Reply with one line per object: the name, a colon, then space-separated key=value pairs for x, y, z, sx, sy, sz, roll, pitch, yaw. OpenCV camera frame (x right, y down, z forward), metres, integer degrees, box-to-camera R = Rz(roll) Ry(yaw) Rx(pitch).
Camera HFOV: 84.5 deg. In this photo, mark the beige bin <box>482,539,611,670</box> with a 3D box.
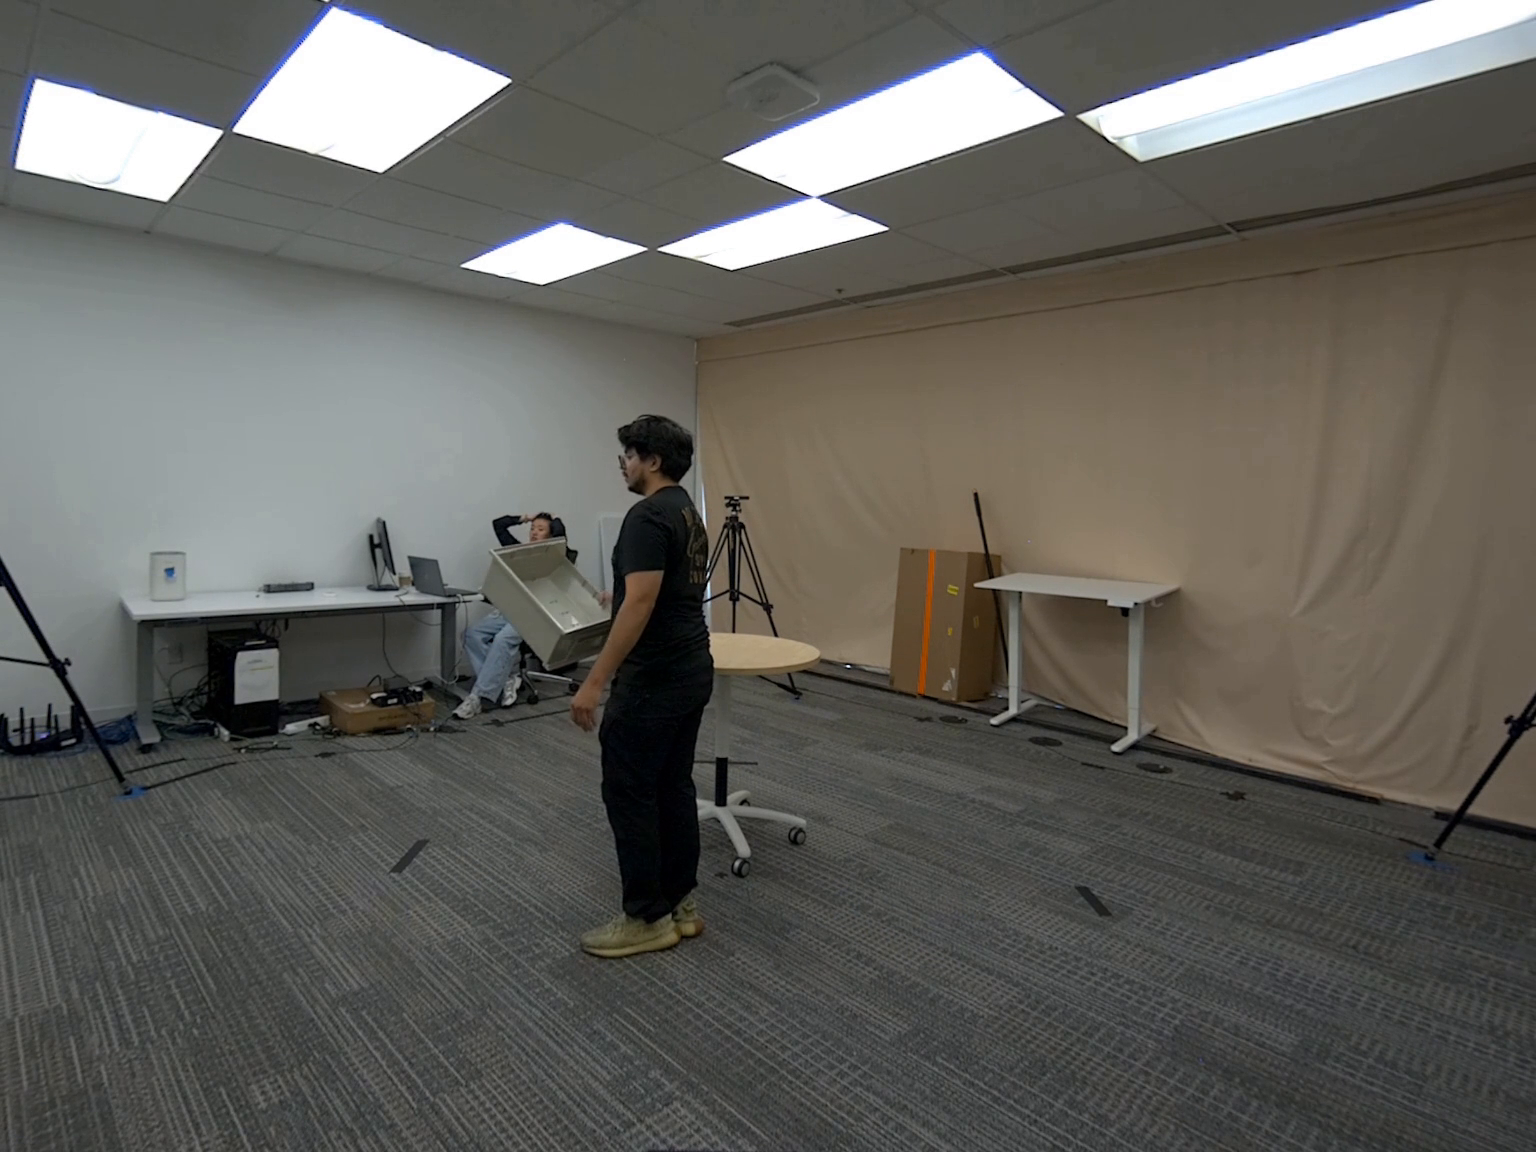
beige bin: x=-0.721 y=0.084 z=2.904 sx=0.432 sy=0.188 sz=0.371 roll=42 pitch=31 yaw=22
